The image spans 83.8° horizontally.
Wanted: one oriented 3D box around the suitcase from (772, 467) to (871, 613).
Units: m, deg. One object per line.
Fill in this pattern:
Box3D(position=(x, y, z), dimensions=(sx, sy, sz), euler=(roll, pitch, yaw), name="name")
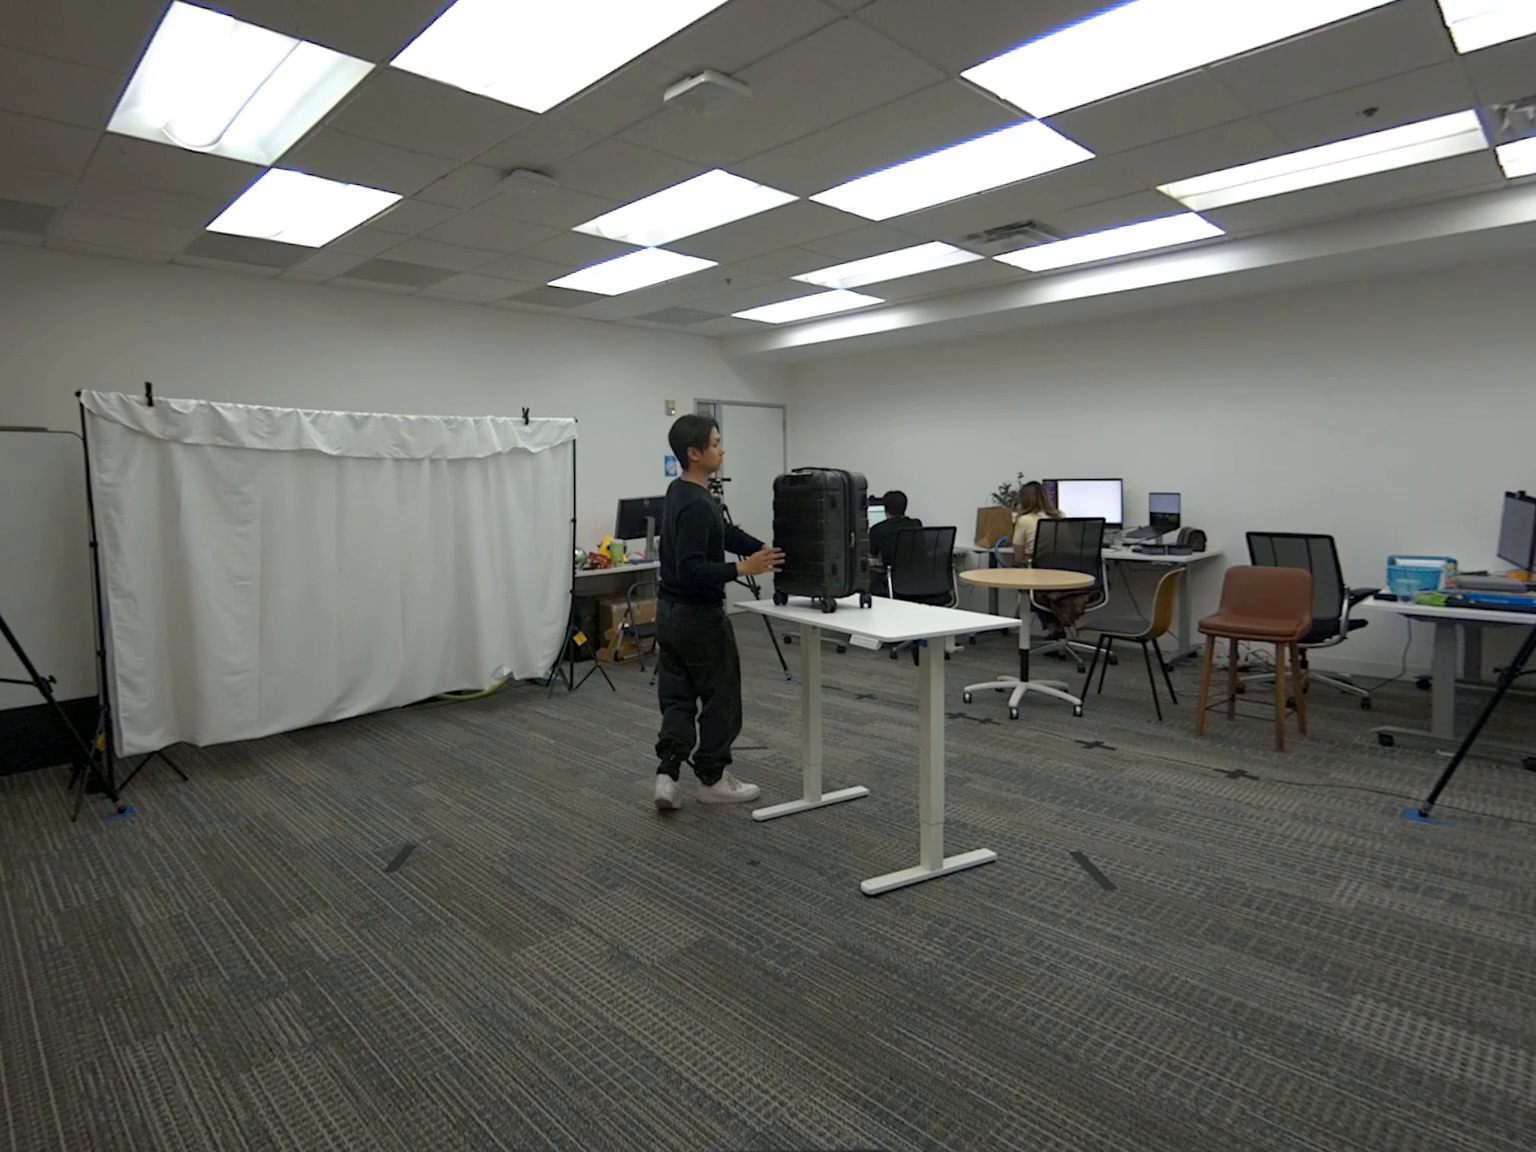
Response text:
Box3D(position=(0.204, -0.155, 3.408), dimensions=(0.242, 0.549, 0.386), euler=(-2, 2, -36), name="suitcase")
